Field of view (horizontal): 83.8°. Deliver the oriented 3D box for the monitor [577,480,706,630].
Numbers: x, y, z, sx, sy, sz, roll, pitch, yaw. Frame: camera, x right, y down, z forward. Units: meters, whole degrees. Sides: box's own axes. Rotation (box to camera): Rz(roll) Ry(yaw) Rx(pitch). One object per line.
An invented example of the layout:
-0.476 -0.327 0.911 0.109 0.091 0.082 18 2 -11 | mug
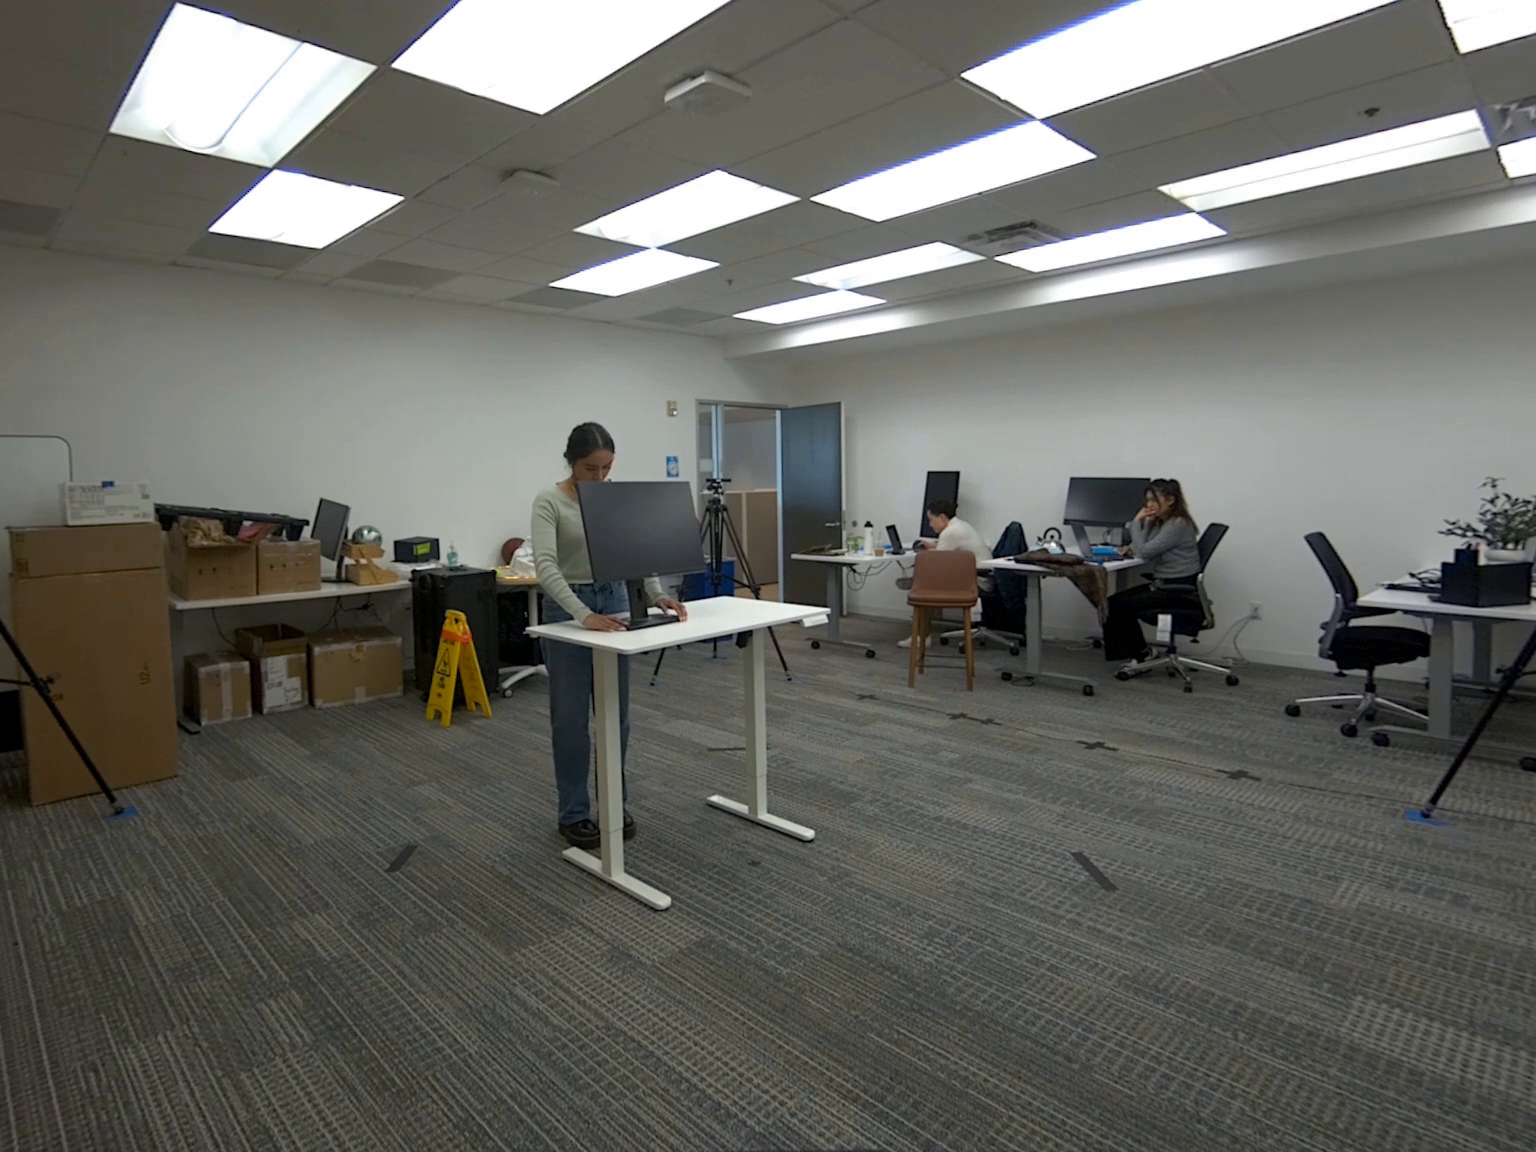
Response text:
-0.459 -0.086 3.083 0.180 0.514 0.516 7 7 40 | monitor
